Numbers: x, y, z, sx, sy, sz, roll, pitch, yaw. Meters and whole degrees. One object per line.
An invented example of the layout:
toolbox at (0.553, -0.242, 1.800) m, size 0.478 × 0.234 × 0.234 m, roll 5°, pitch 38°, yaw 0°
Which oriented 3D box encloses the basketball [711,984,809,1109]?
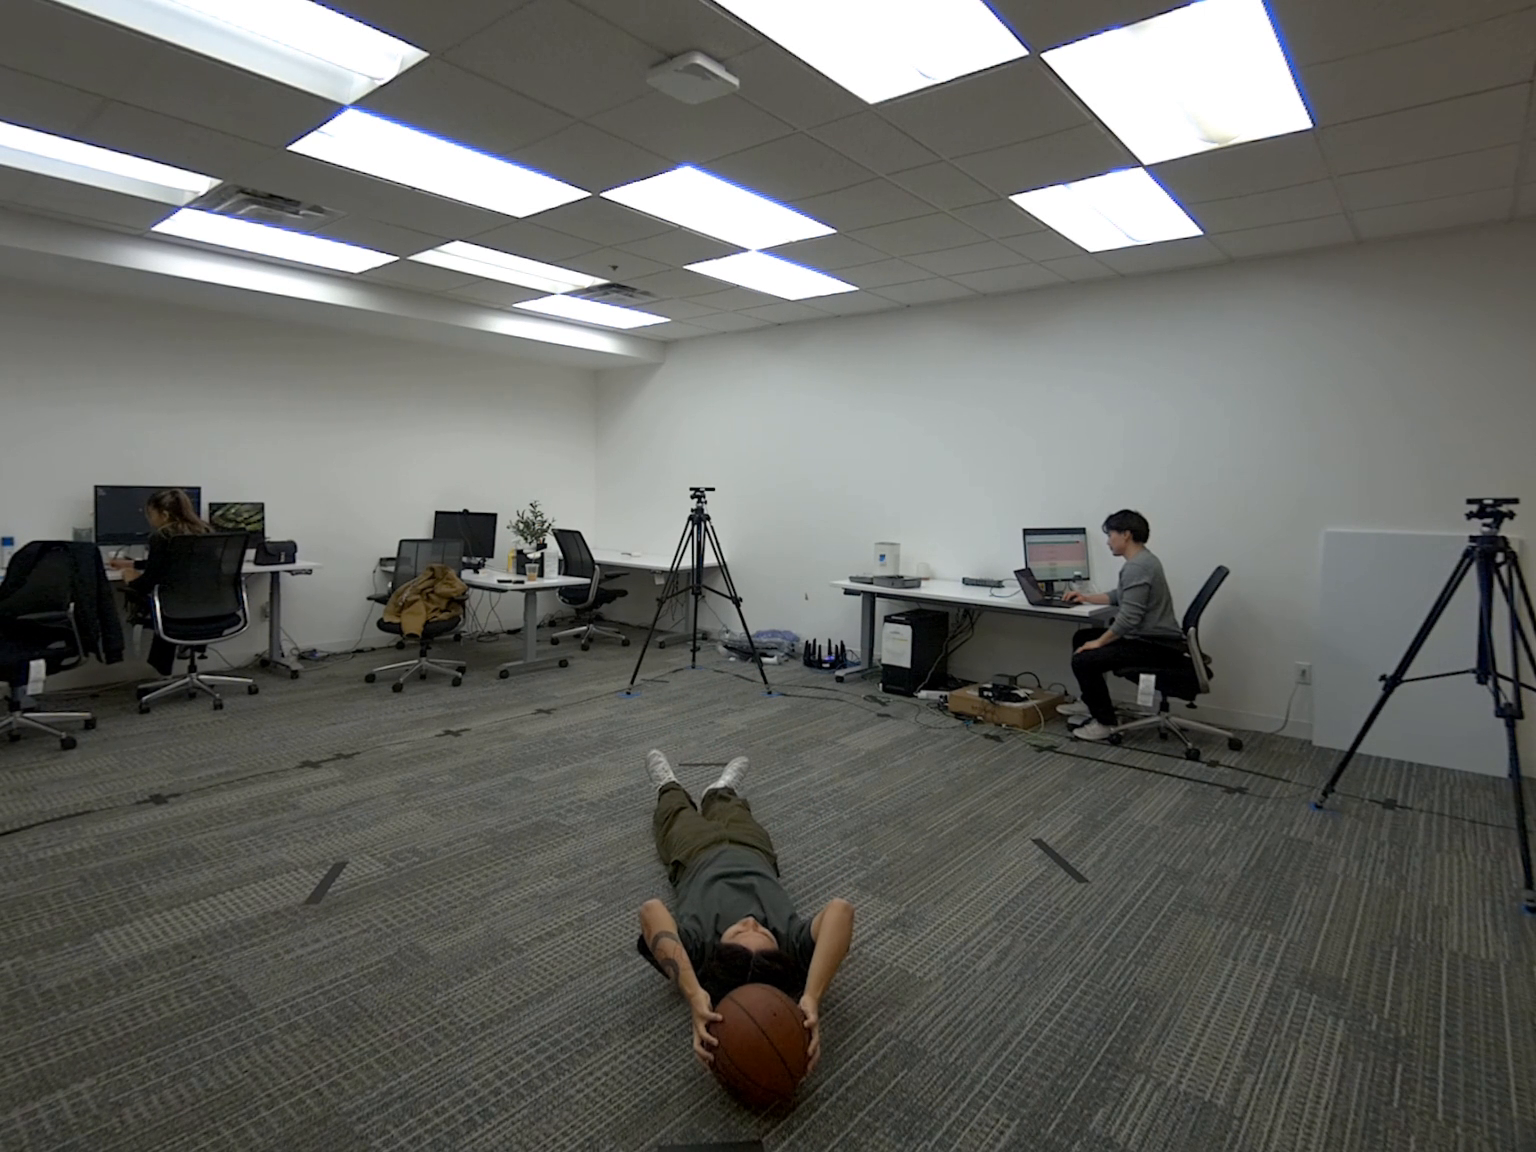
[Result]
basketball at (-0.030, 1.068, 1.943) m, size 0.235 × 0.235 × 0.237 m, roll 1°, pitch 4°, yaw -2°
